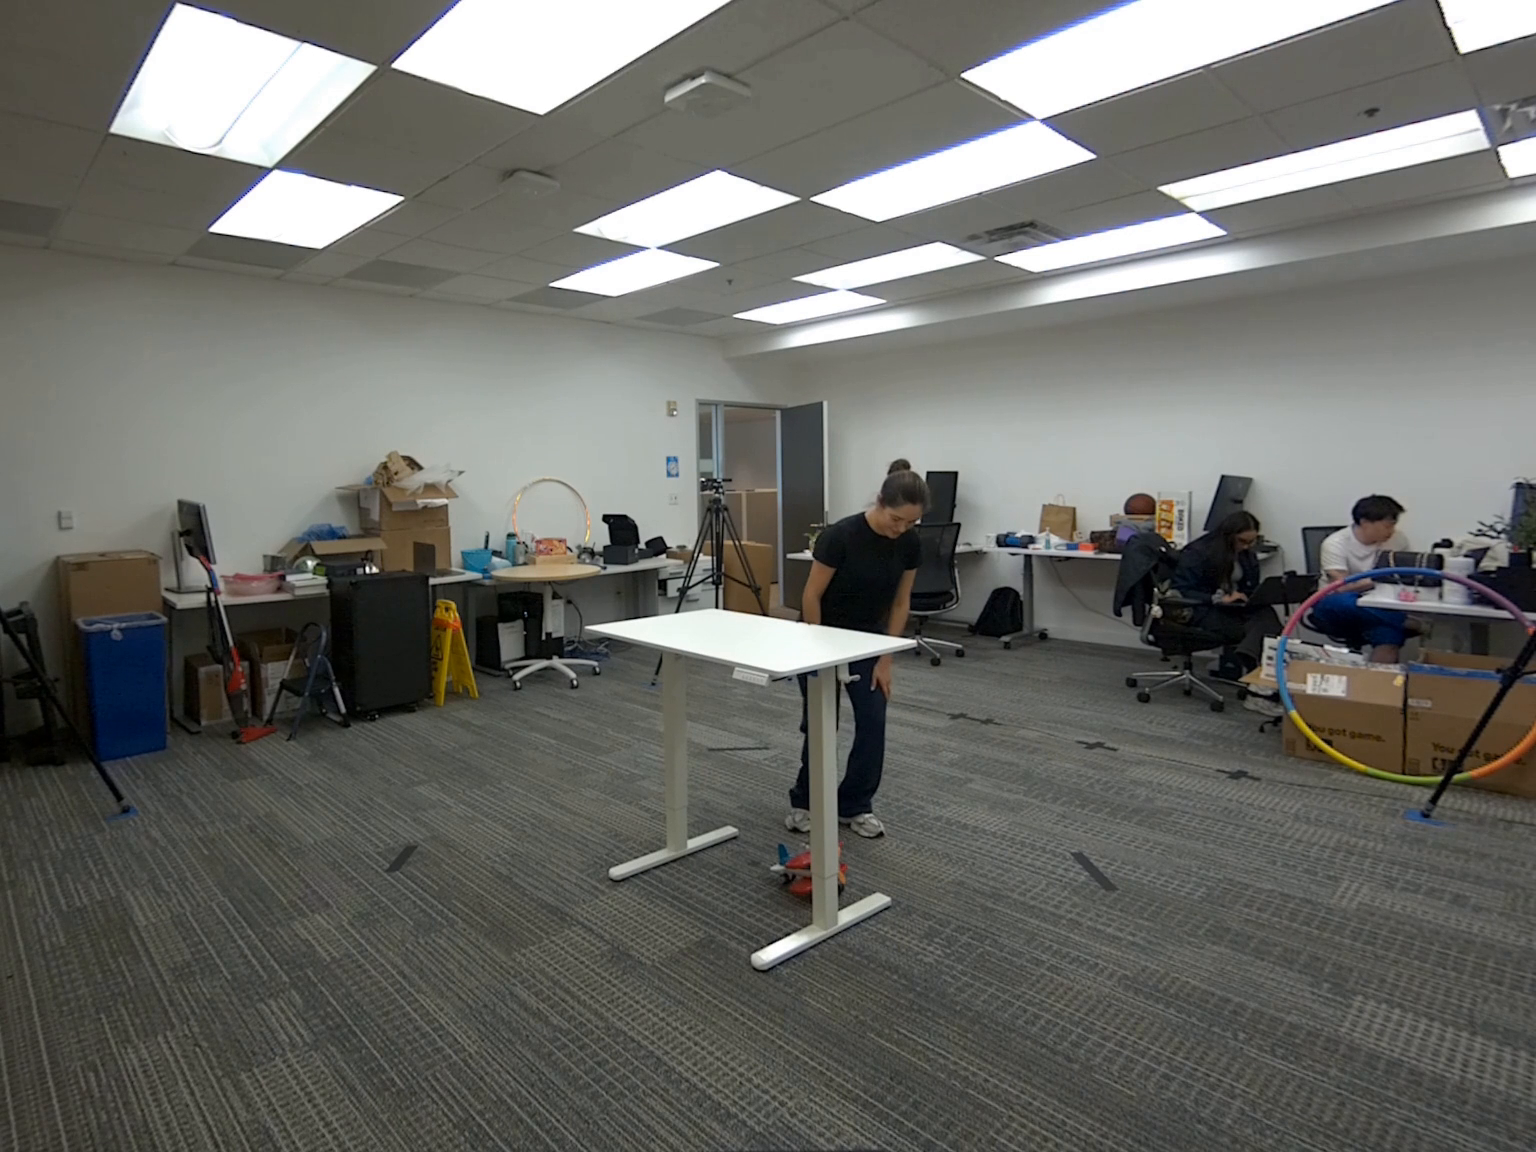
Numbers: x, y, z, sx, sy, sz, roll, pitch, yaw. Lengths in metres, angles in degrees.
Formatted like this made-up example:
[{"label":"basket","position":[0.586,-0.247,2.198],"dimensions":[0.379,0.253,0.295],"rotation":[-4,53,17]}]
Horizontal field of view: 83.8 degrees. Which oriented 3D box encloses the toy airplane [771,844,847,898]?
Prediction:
[{"label":"toy airplane","position":[0.131,0.996,2.883],"dimensions":[0.263,0.155,0.248],"rotation":[2,7,16]}]
